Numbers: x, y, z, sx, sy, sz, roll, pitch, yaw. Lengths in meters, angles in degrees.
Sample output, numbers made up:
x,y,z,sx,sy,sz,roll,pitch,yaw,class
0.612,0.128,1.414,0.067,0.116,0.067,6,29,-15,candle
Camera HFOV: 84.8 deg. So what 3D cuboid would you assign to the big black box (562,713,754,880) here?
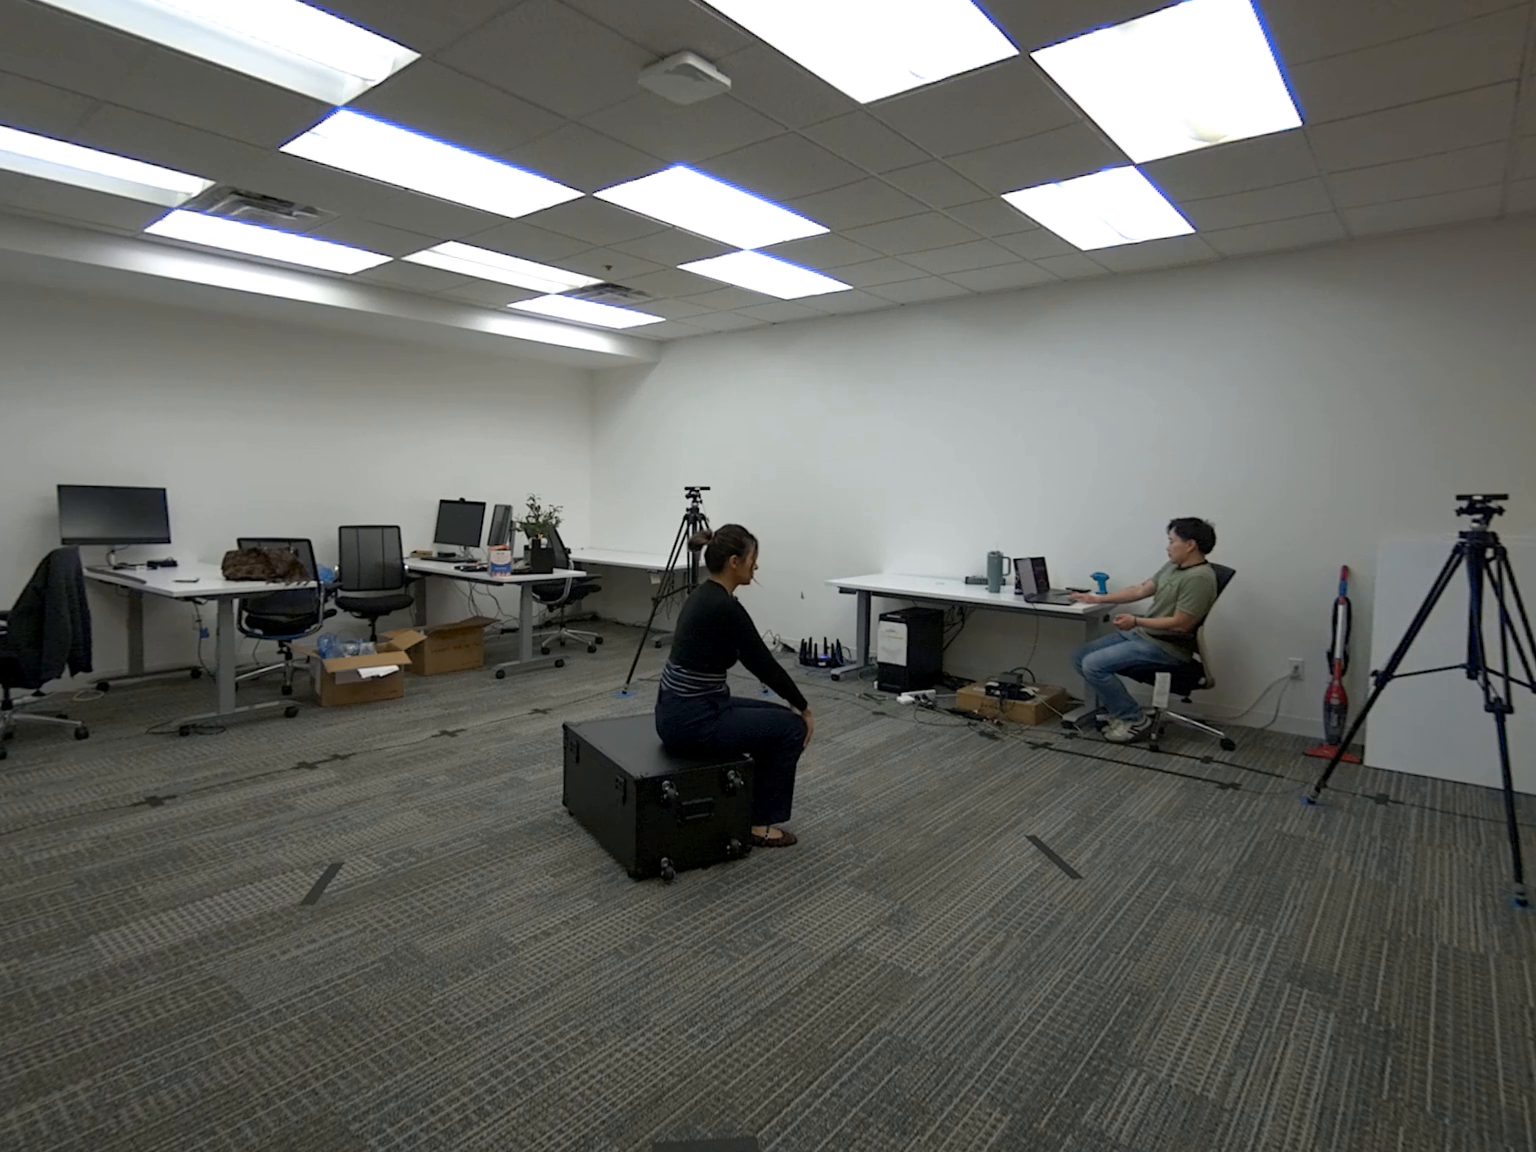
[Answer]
x,y,z,sx,sy,sz,roll,pitch,yaw,class
-0.496,0.839,3.440,0.507,0.395,0.889,-2,6,-32,big black box
